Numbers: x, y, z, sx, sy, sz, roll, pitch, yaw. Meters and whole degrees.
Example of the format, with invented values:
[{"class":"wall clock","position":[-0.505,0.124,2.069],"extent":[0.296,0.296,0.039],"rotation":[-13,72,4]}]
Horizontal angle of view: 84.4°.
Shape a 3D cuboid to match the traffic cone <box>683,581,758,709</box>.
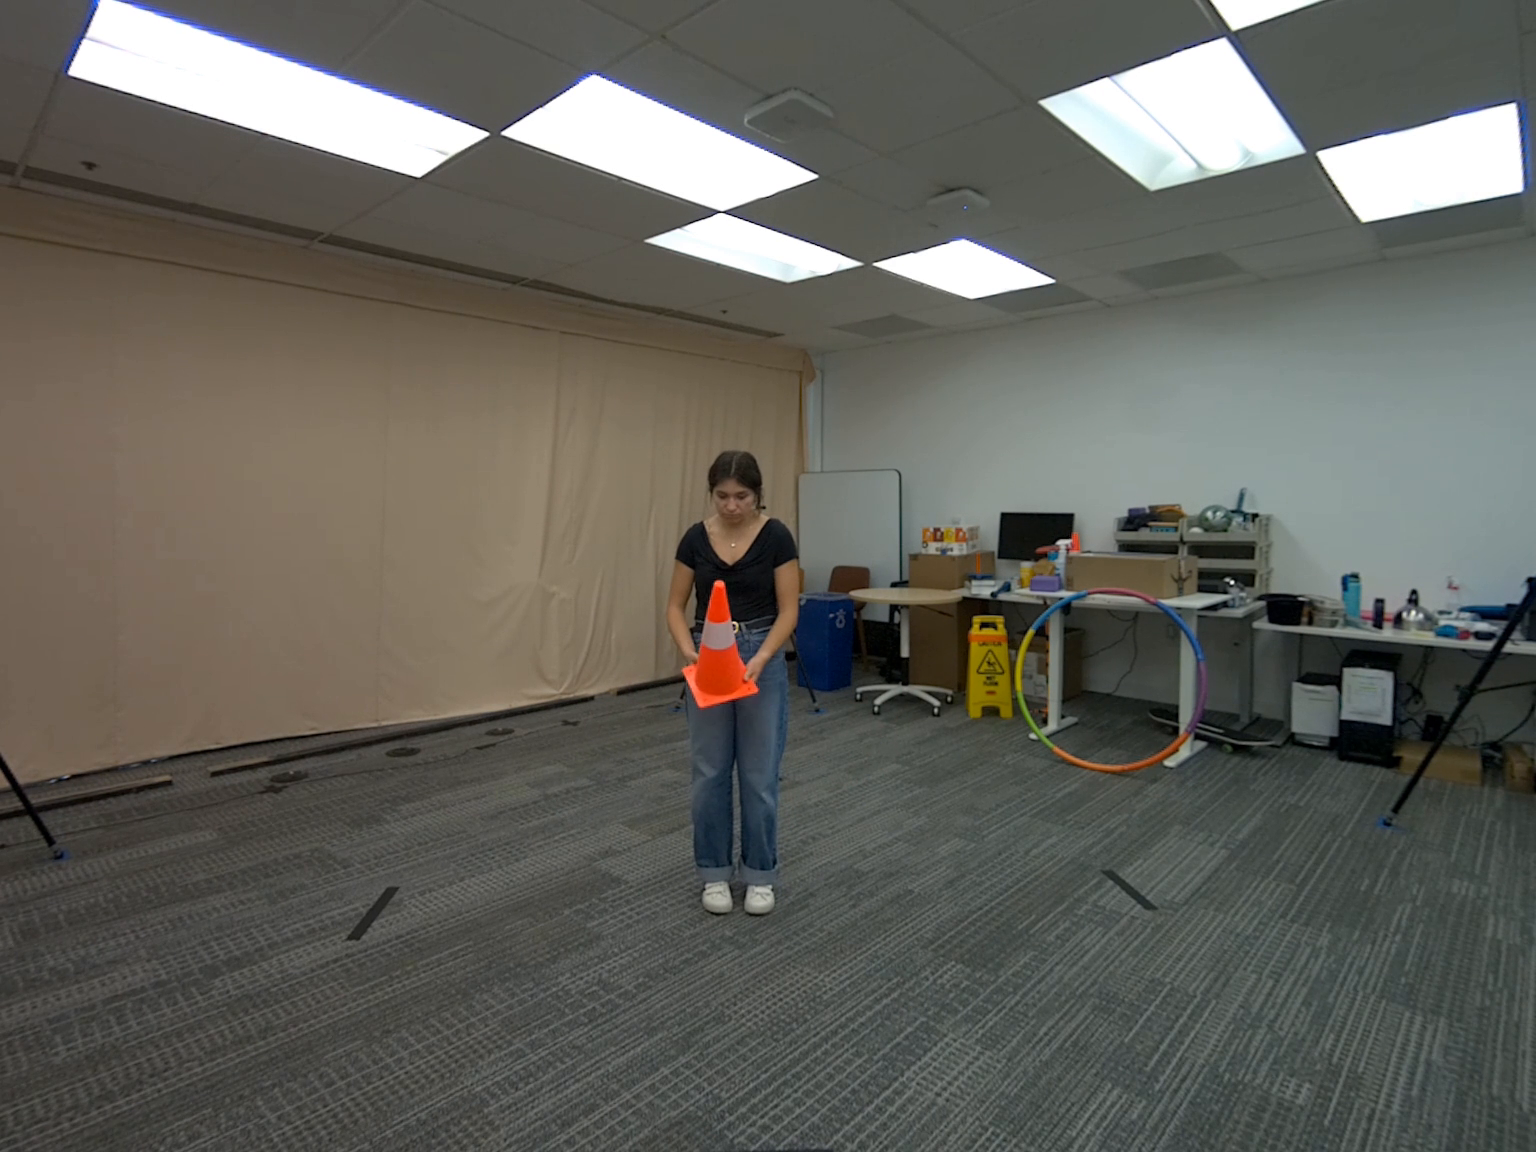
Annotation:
[{"class":"traffic cone","position":[-0.141,0.191,2.592],"extent":[0.201,0.377,0.210],"rotation":[-14,37,-23]}]
